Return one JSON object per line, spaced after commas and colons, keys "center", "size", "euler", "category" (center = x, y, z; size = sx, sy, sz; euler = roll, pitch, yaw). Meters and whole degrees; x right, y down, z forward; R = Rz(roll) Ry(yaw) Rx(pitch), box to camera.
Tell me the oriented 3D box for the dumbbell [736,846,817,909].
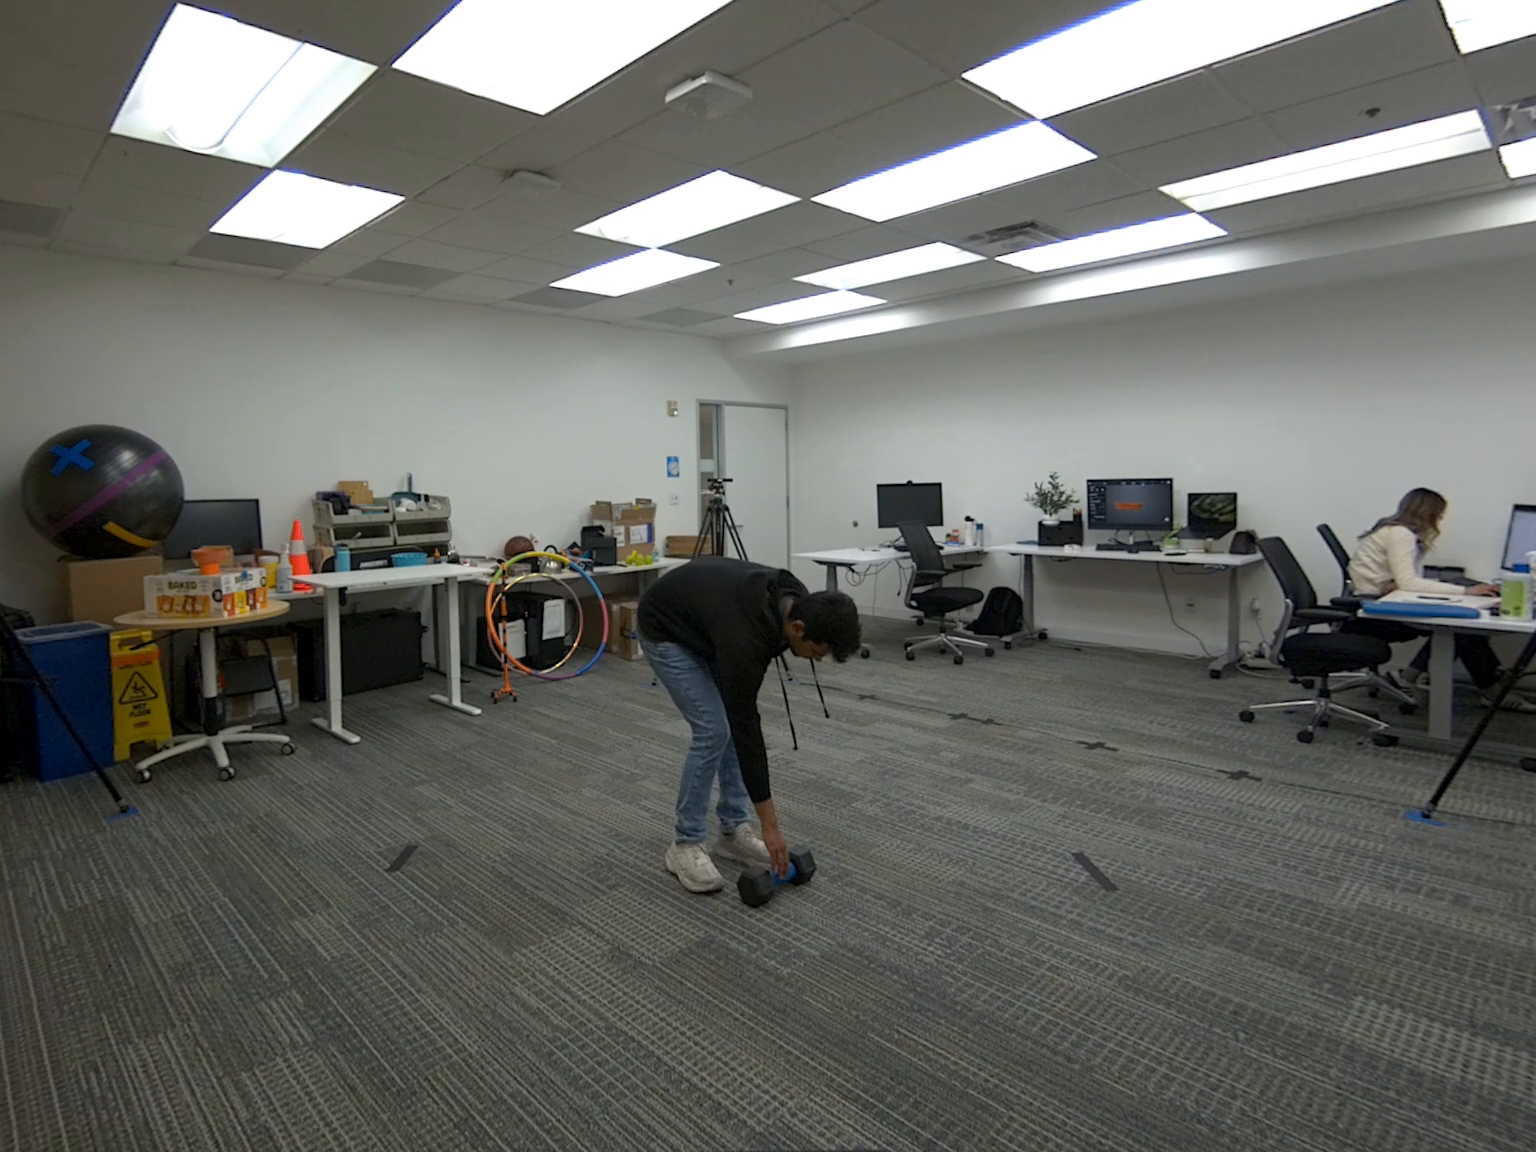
{"center": [0.035, 1.014, 2.888], "size": [0.286, 0.125, 0.109], "euler": [-7, -23, -45], "category": "dumbbell"}
